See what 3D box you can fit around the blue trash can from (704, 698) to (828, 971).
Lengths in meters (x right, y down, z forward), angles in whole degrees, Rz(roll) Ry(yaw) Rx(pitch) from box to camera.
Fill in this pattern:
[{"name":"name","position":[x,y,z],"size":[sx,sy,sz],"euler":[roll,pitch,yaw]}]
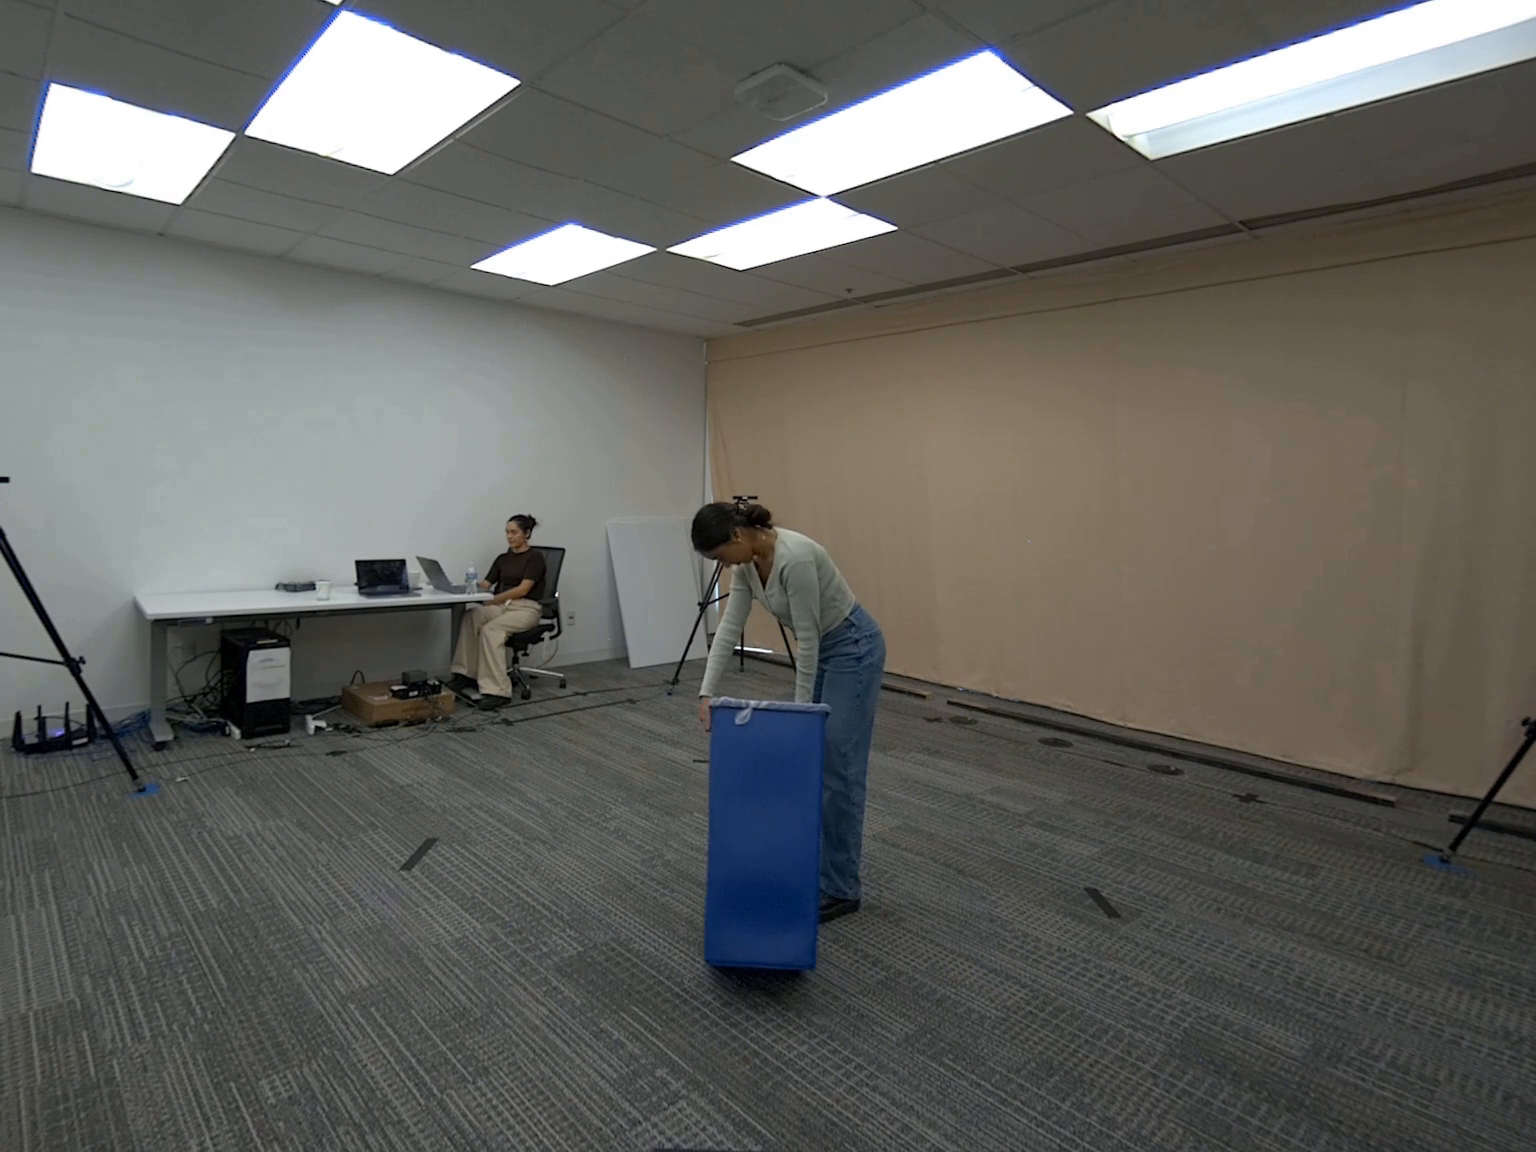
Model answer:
[{"name":"blue trash can","position":[-0.025,0.774,2.543],"size":[0.378,0.724,0.369],"euler":[3,-23,-1]}]
